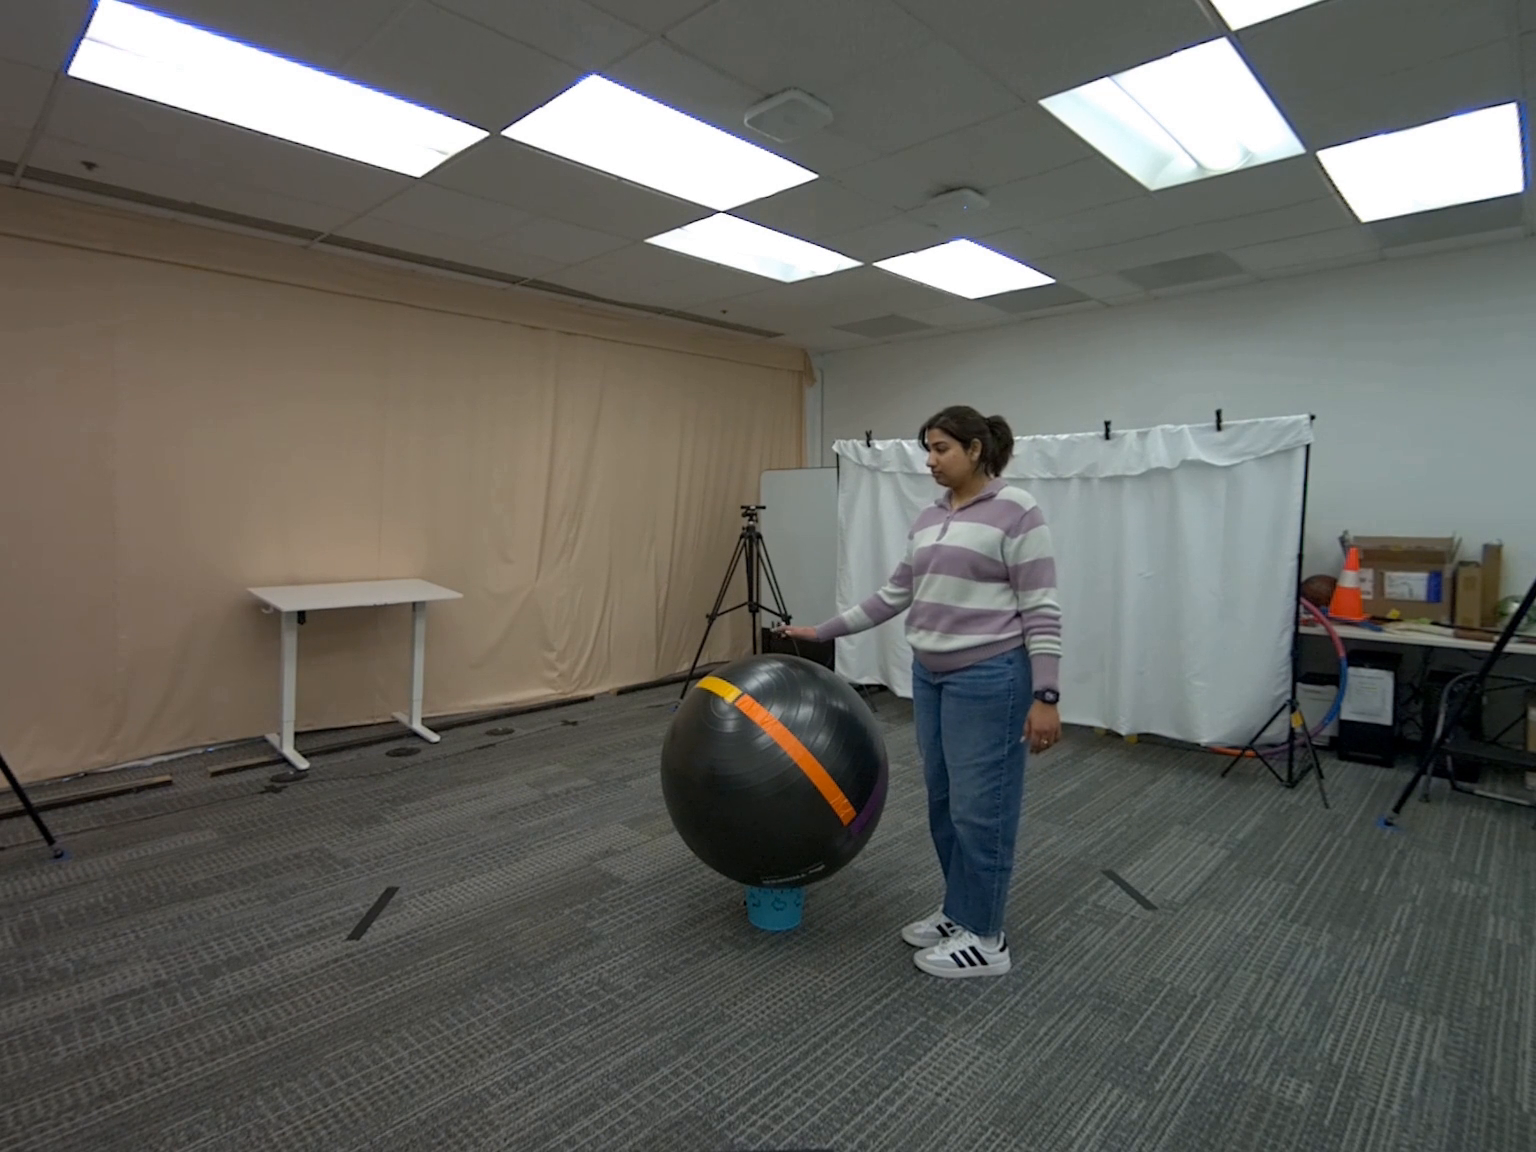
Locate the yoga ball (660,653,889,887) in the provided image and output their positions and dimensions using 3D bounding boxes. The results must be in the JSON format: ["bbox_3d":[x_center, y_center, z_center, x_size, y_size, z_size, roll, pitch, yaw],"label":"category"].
[{"bbox_3d":[0.021,0.647,2.833,0.757,0.756,0.760,0,4,-2],"label":"yoga ball"}]
